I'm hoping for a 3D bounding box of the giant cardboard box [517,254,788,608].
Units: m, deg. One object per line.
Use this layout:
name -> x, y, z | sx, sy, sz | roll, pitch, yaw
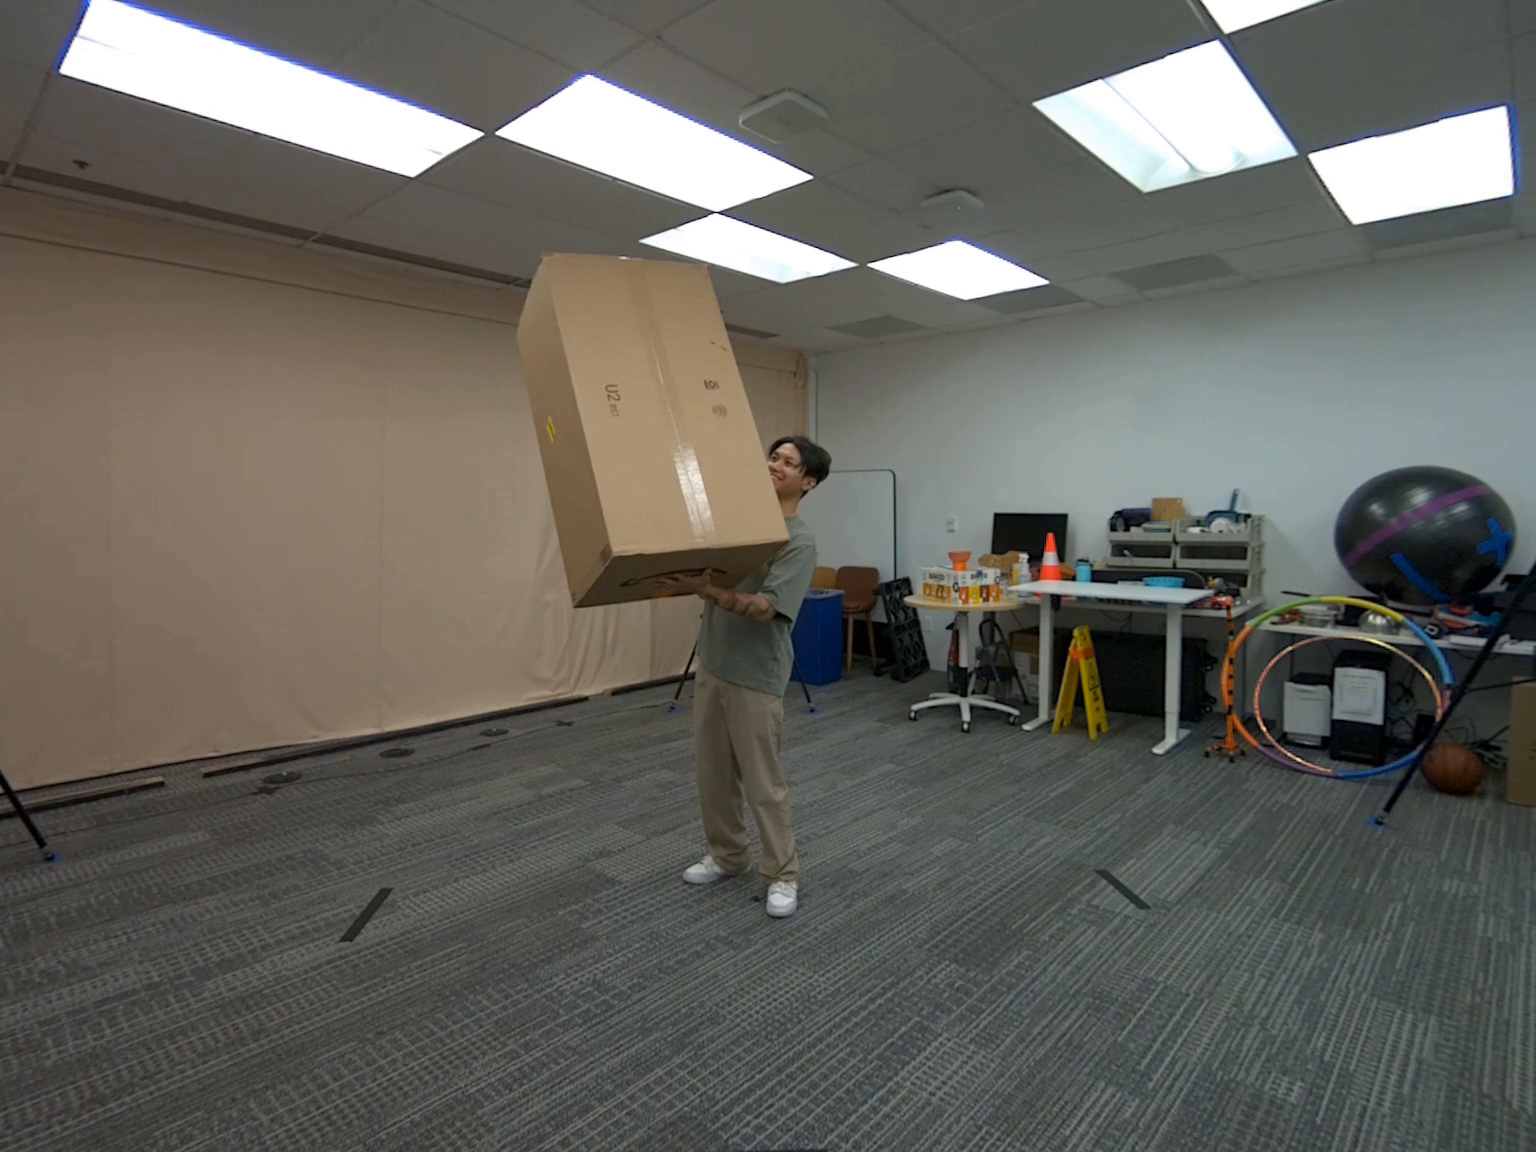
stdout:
giant cardboard box -> -0.399, -0.470, 2.728 | 0.563, 1.042, 0.430 | -6, -20, -28
